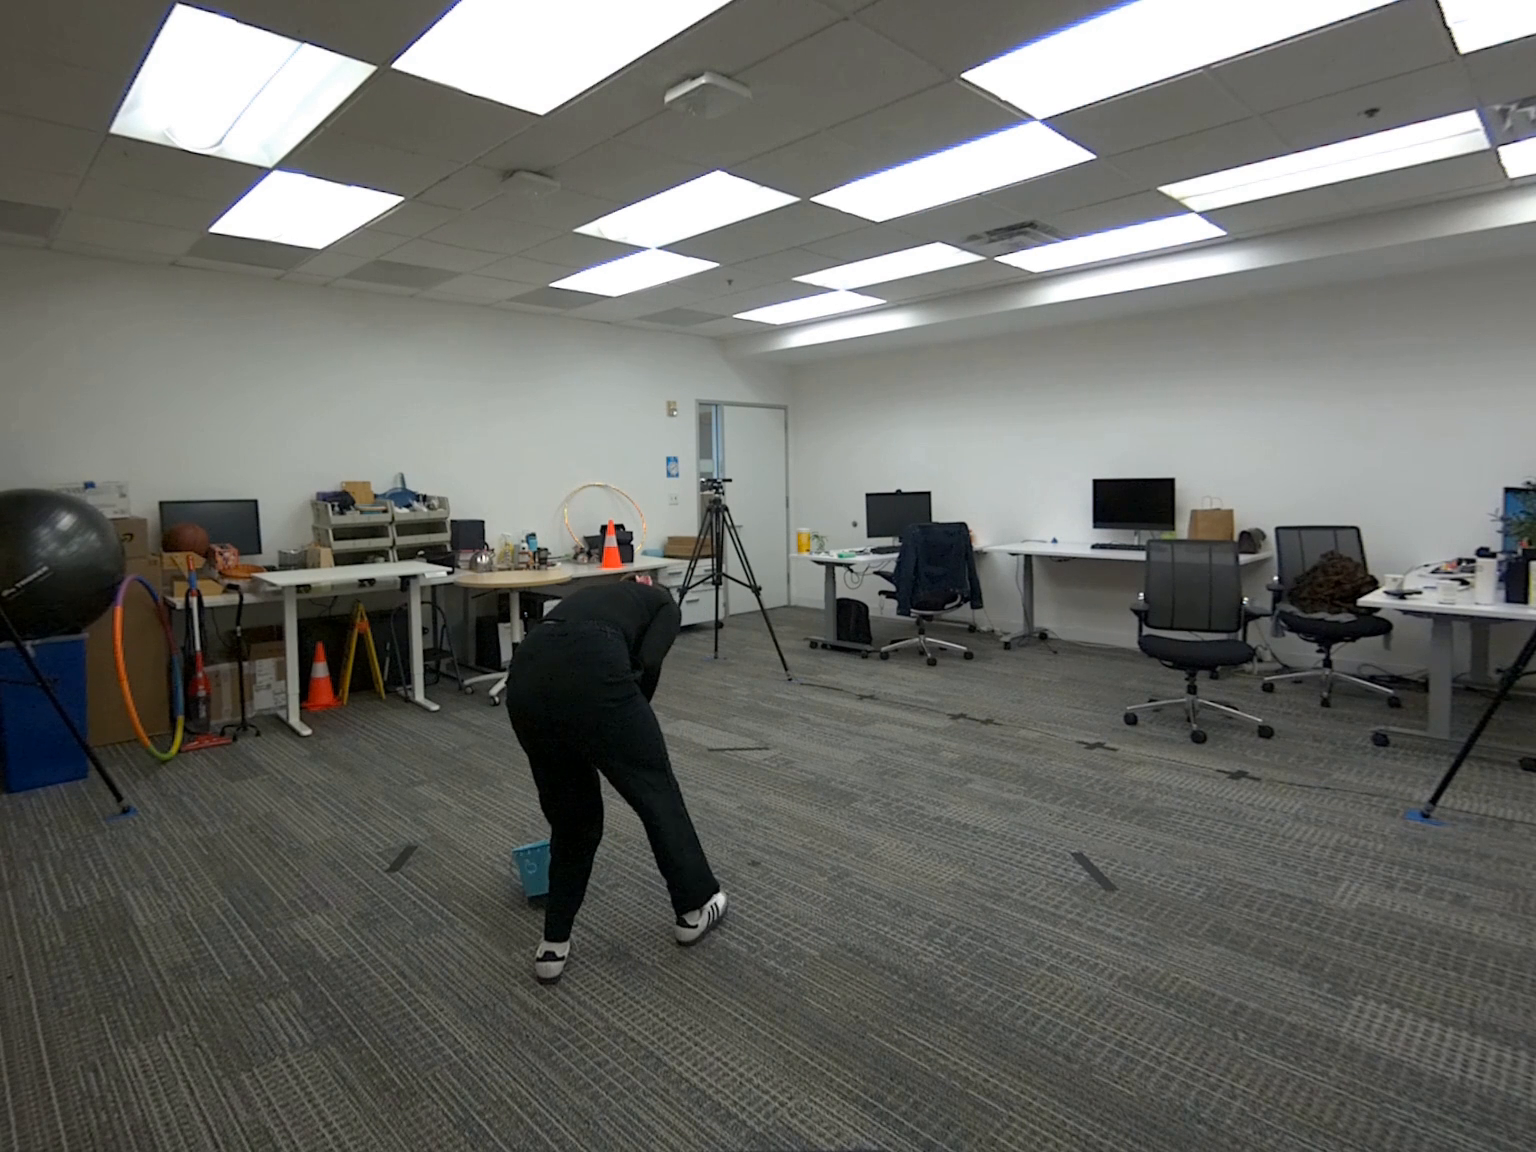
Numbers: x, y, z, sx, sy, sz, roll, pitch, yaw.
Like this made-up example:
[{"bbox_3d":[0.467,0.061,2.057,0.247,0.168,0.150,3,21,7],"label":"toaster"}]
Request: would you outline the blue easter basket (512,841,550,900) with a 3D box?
[{"bbox_3d":[-0.738,0.979,2.912,0.243,0.157,0.242,-12,-8,-4],"label":"blue easter basket"}]
